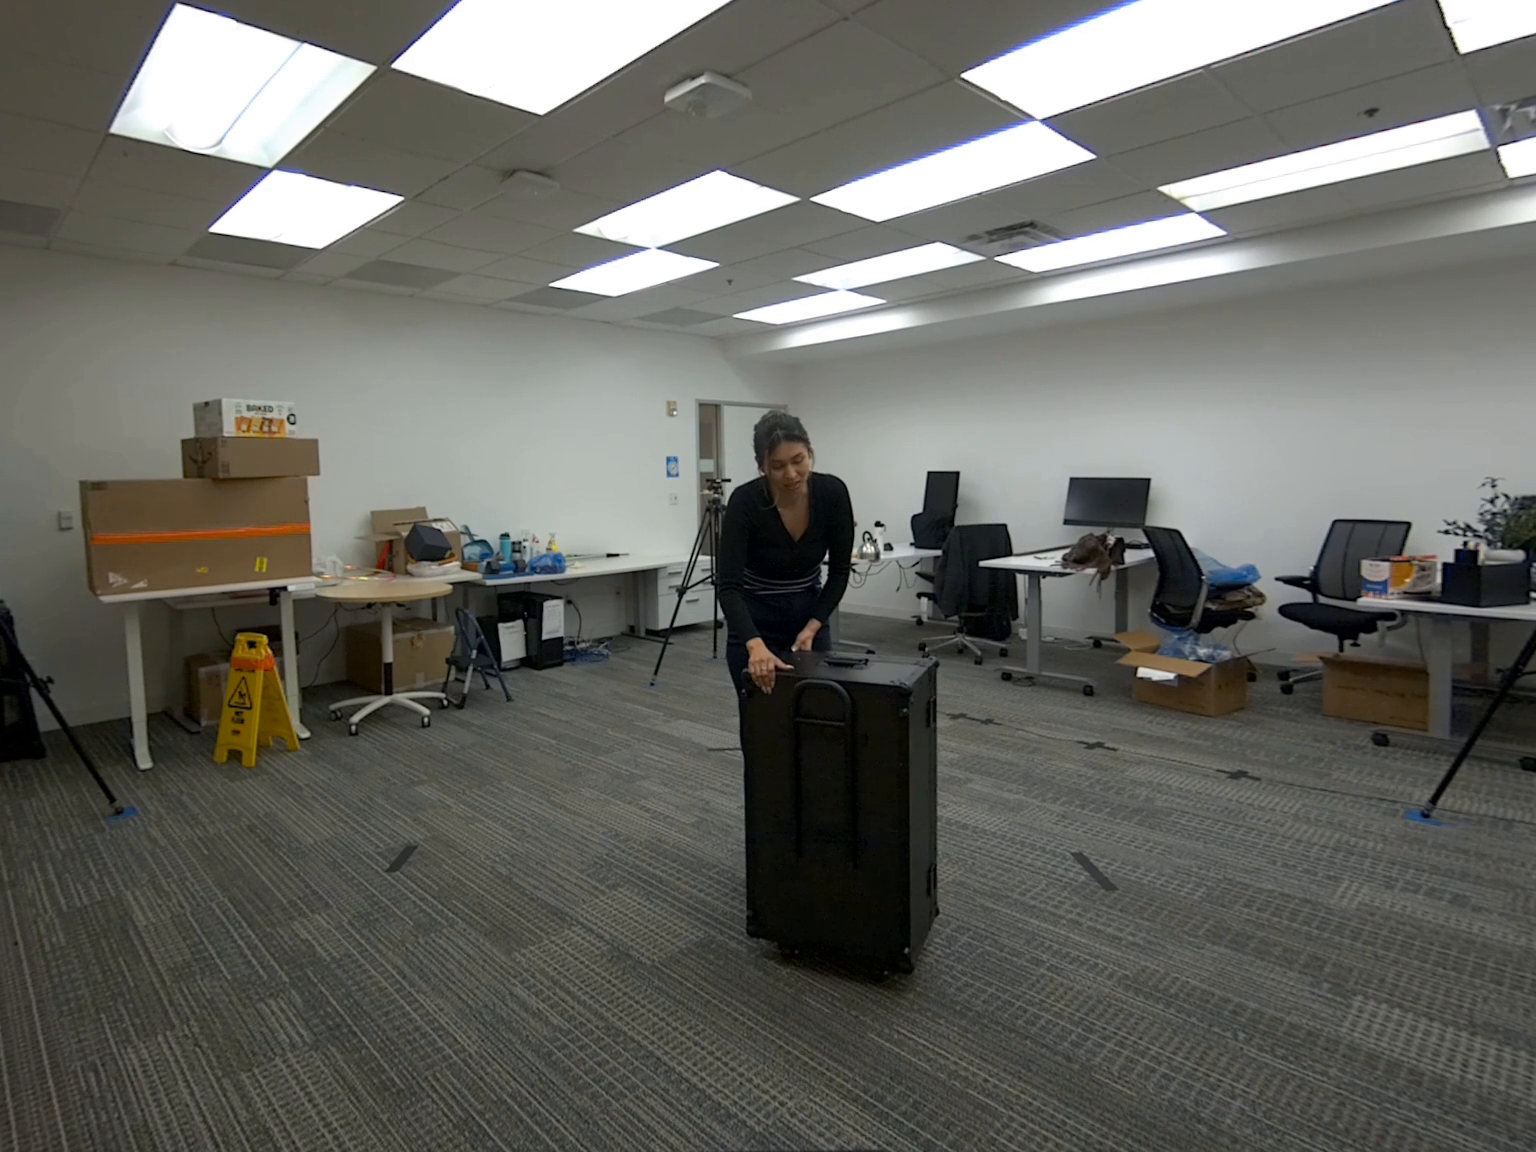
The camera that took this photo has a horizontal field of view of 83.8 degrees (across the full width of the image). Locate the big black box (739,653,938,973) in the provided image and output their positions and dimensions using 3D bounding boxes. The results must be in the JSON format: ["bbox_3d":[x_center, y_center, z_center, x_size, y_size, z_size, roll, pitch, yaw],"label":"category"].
[{"bbox_3d":[0.230,0.682,2.497,0.533,0.858,0.389,1,5,25],"label":"big black box"}]
